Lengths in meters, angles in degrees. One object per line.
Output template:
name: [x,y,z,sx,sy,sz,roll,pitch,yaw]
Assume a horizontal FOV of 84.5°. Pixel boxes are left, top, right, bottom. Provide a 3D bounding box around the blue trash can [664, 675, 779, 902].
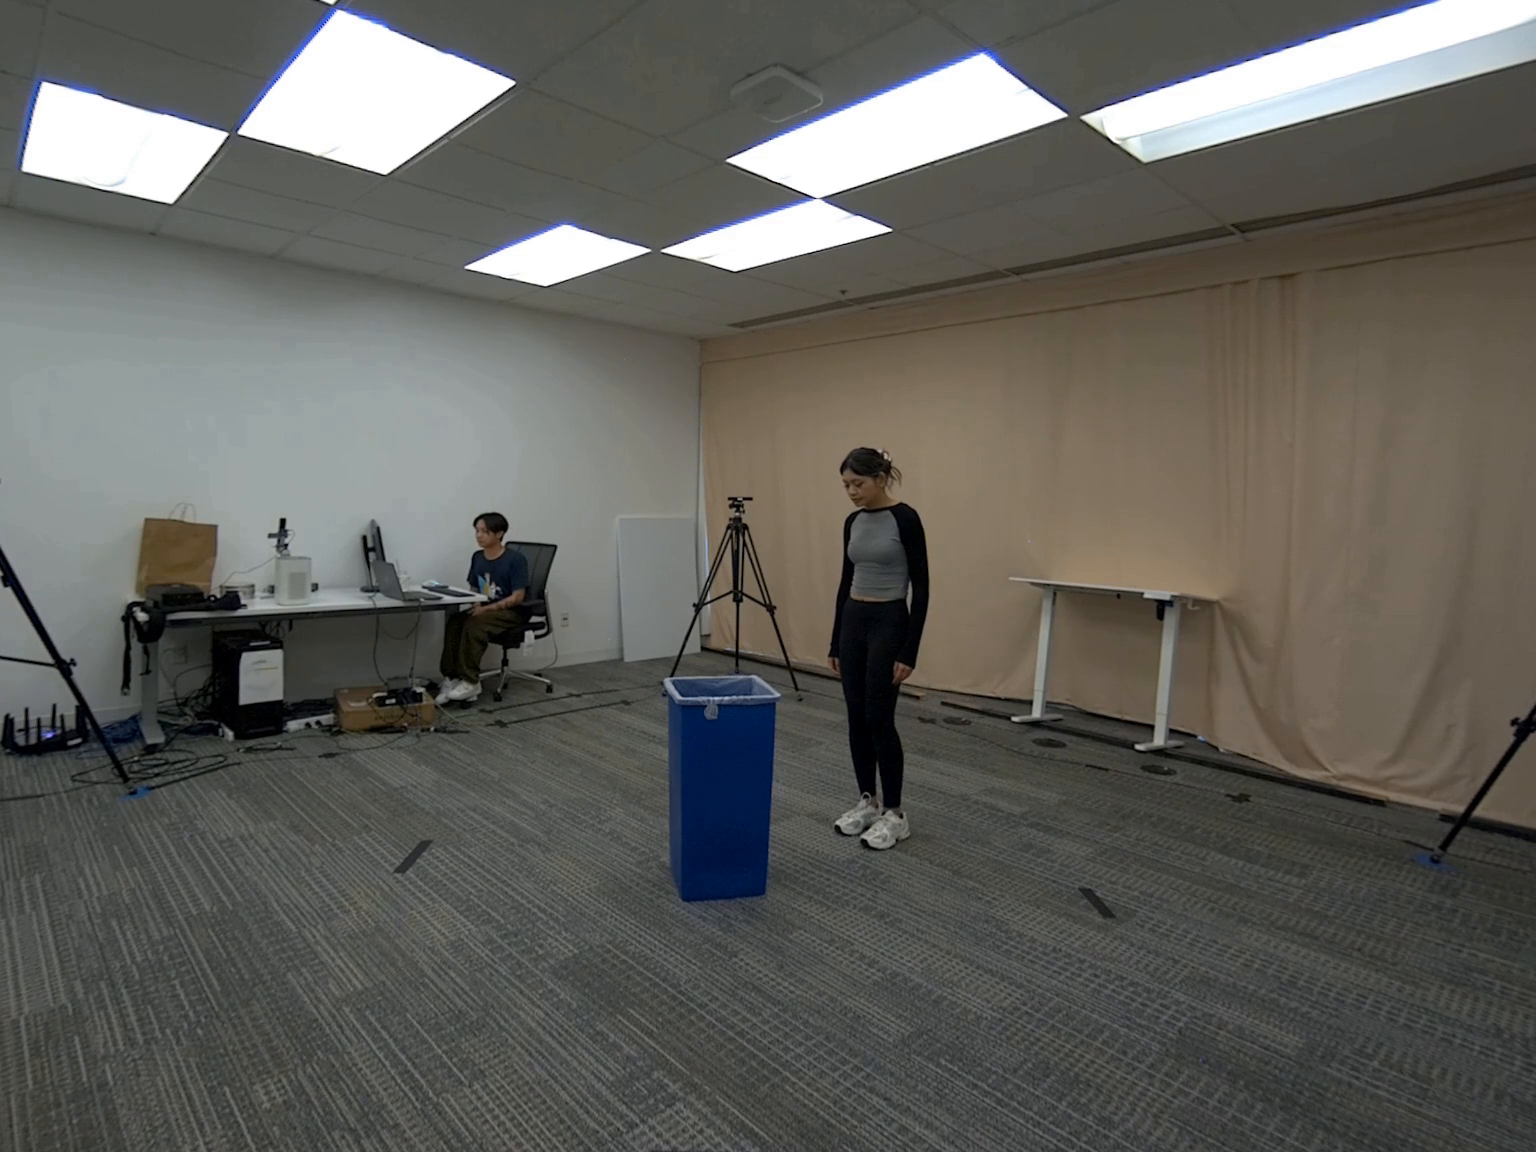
blue trash can: [-0.179,0.754,3.059,0.370,0.712,0.383,0,3,-15]
